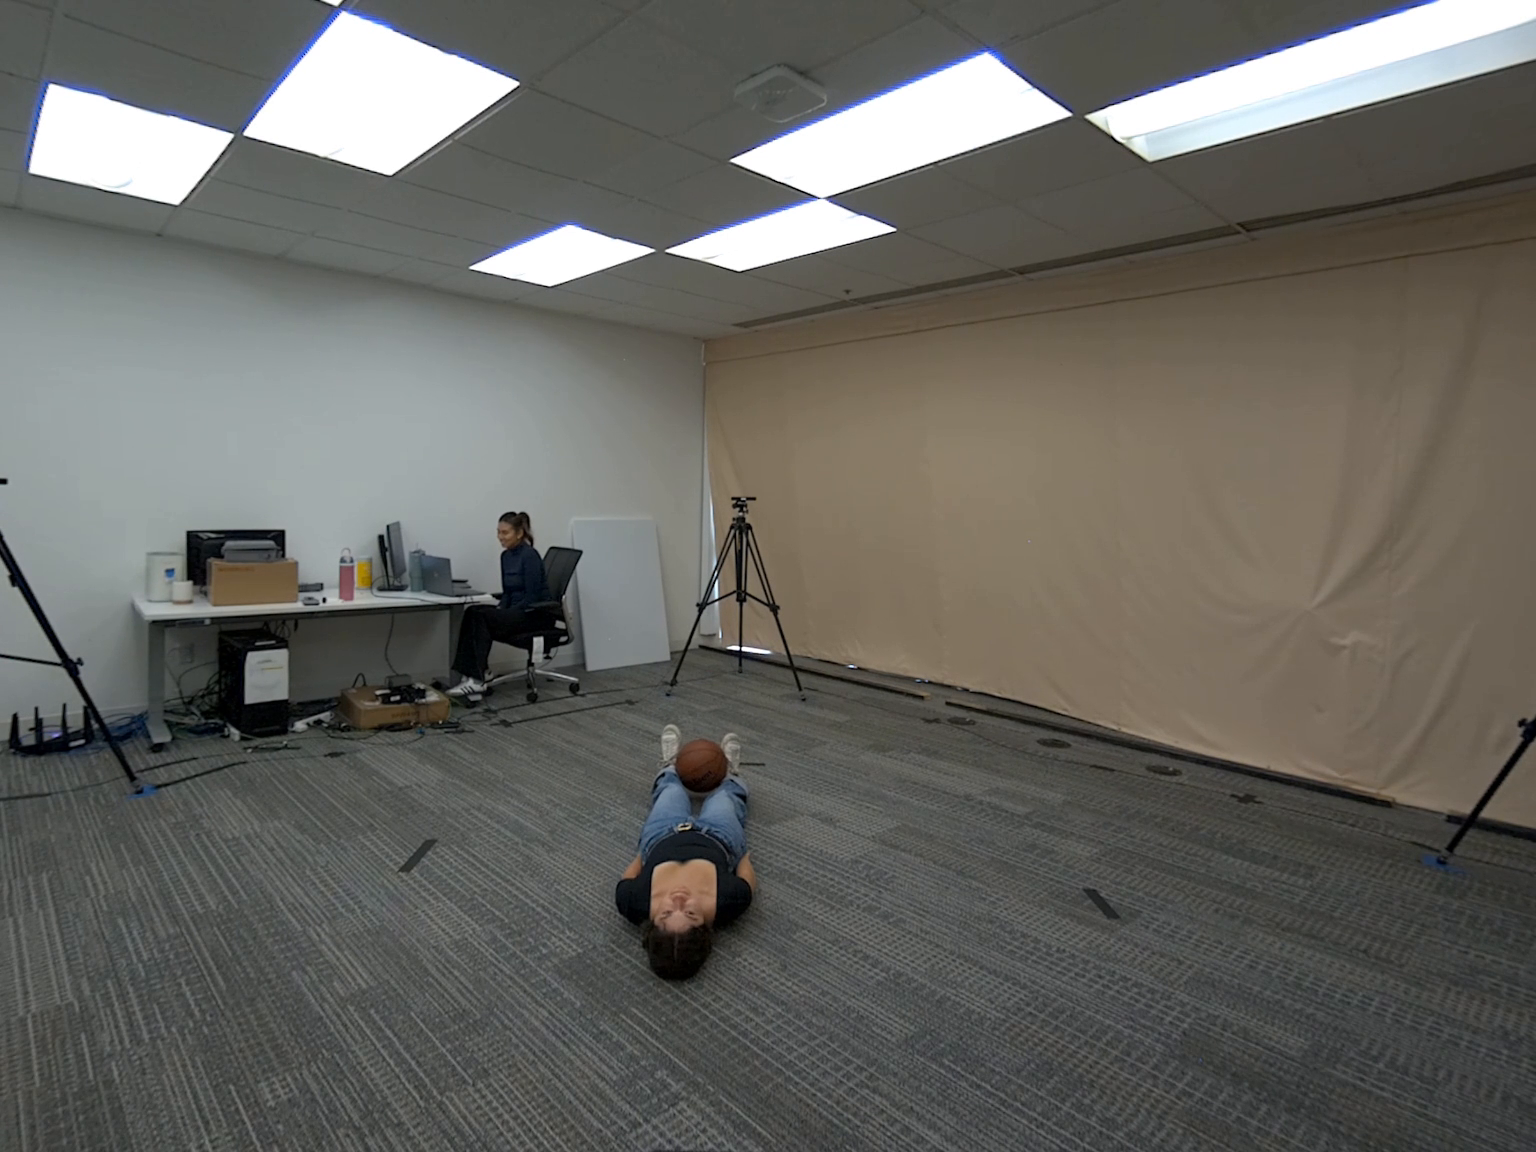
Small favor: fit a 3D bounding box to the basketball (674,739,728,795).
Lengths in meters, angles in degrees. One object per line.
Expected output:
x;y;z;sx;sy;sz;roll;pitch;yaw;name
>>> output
-0.317;0.869;3.870;0.236;0.235;0.237;1;4;-1;basketball
